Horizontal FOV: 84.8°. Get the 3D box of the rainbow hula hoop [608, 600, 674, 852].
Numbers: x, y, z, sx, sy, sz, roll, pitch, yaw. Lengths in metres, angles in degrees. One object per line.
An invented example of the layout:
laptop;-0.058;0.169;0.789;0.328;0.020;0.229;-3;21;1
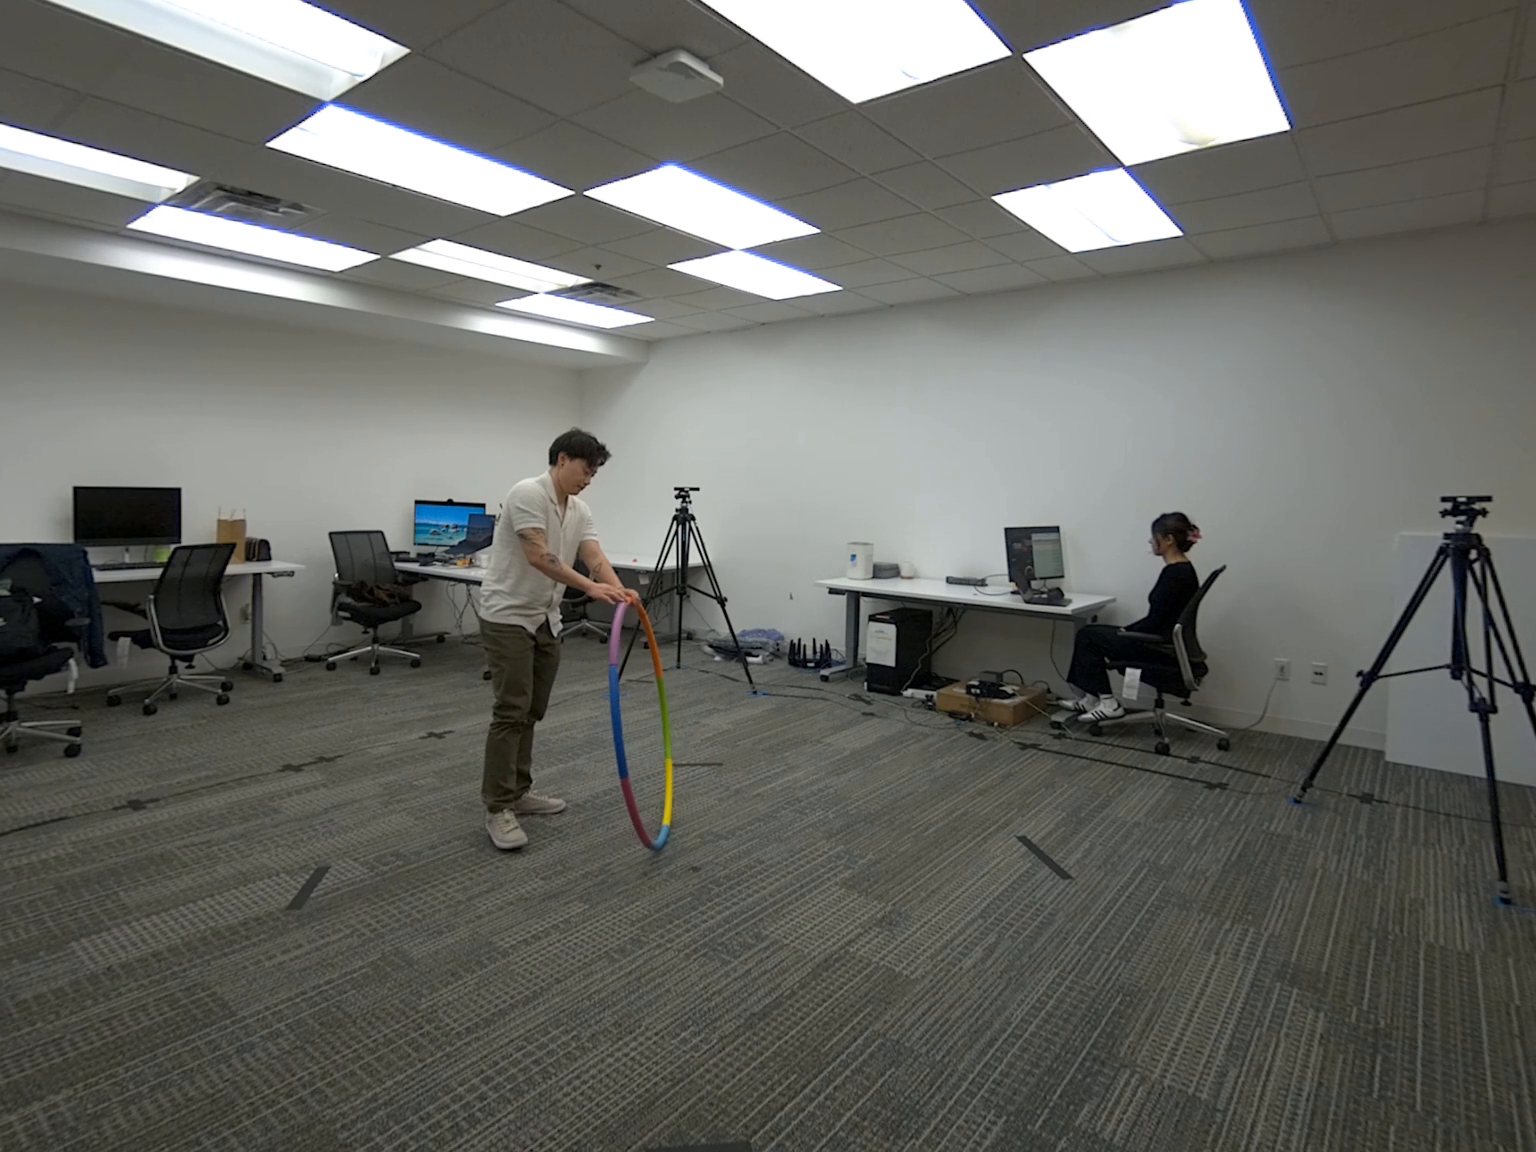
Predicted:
rainbow hula hoop;-0.496;0.567;3.346;0.035;0.976;0.979;-9;4;2
